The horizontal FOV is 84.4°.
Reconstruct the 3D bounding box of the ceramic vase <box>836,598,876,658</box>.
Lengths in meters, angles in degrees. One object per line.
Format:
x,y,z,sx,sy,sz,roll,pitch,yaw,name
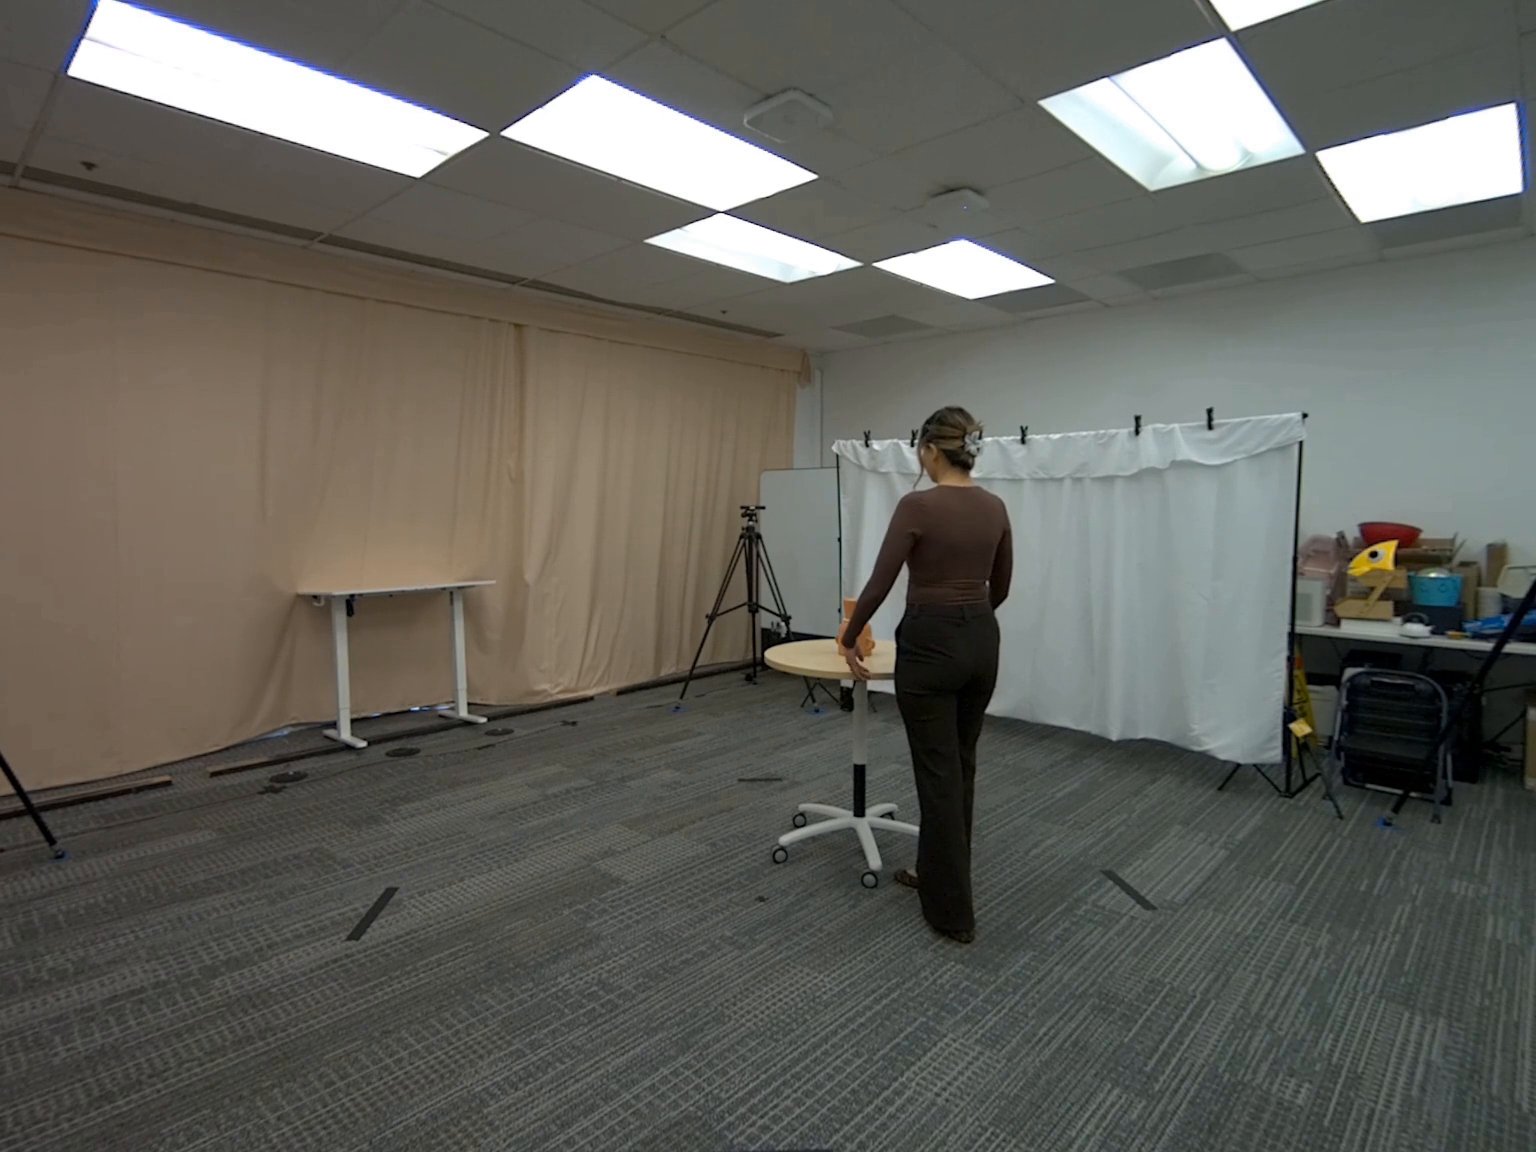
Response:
0.356,0.205,3.373,0.160,0.219,0.134,0,3,7,ceramic vase
